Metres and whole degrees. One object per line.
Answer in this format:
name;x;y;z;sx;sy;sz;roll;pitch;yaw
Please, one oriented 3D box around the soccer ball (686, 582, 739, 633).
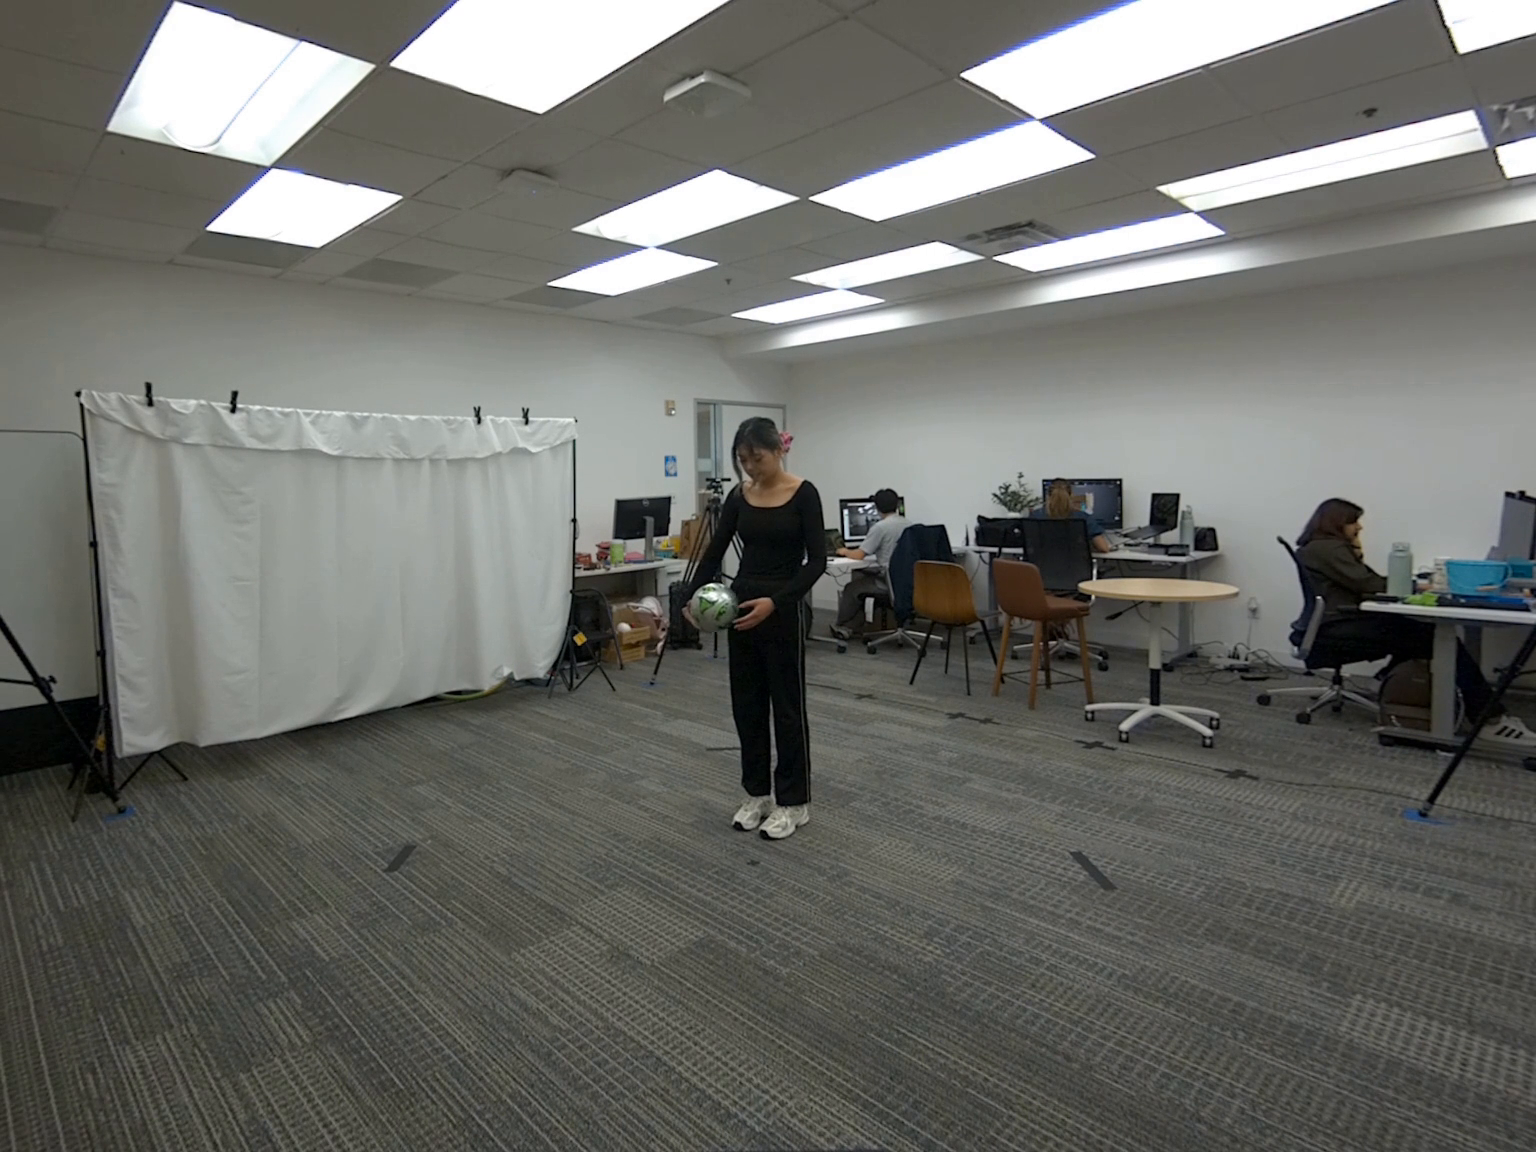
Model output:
soccer ball;-0.203;0.117;3.300;0.187;0.187;0.188;-1;5;-2
